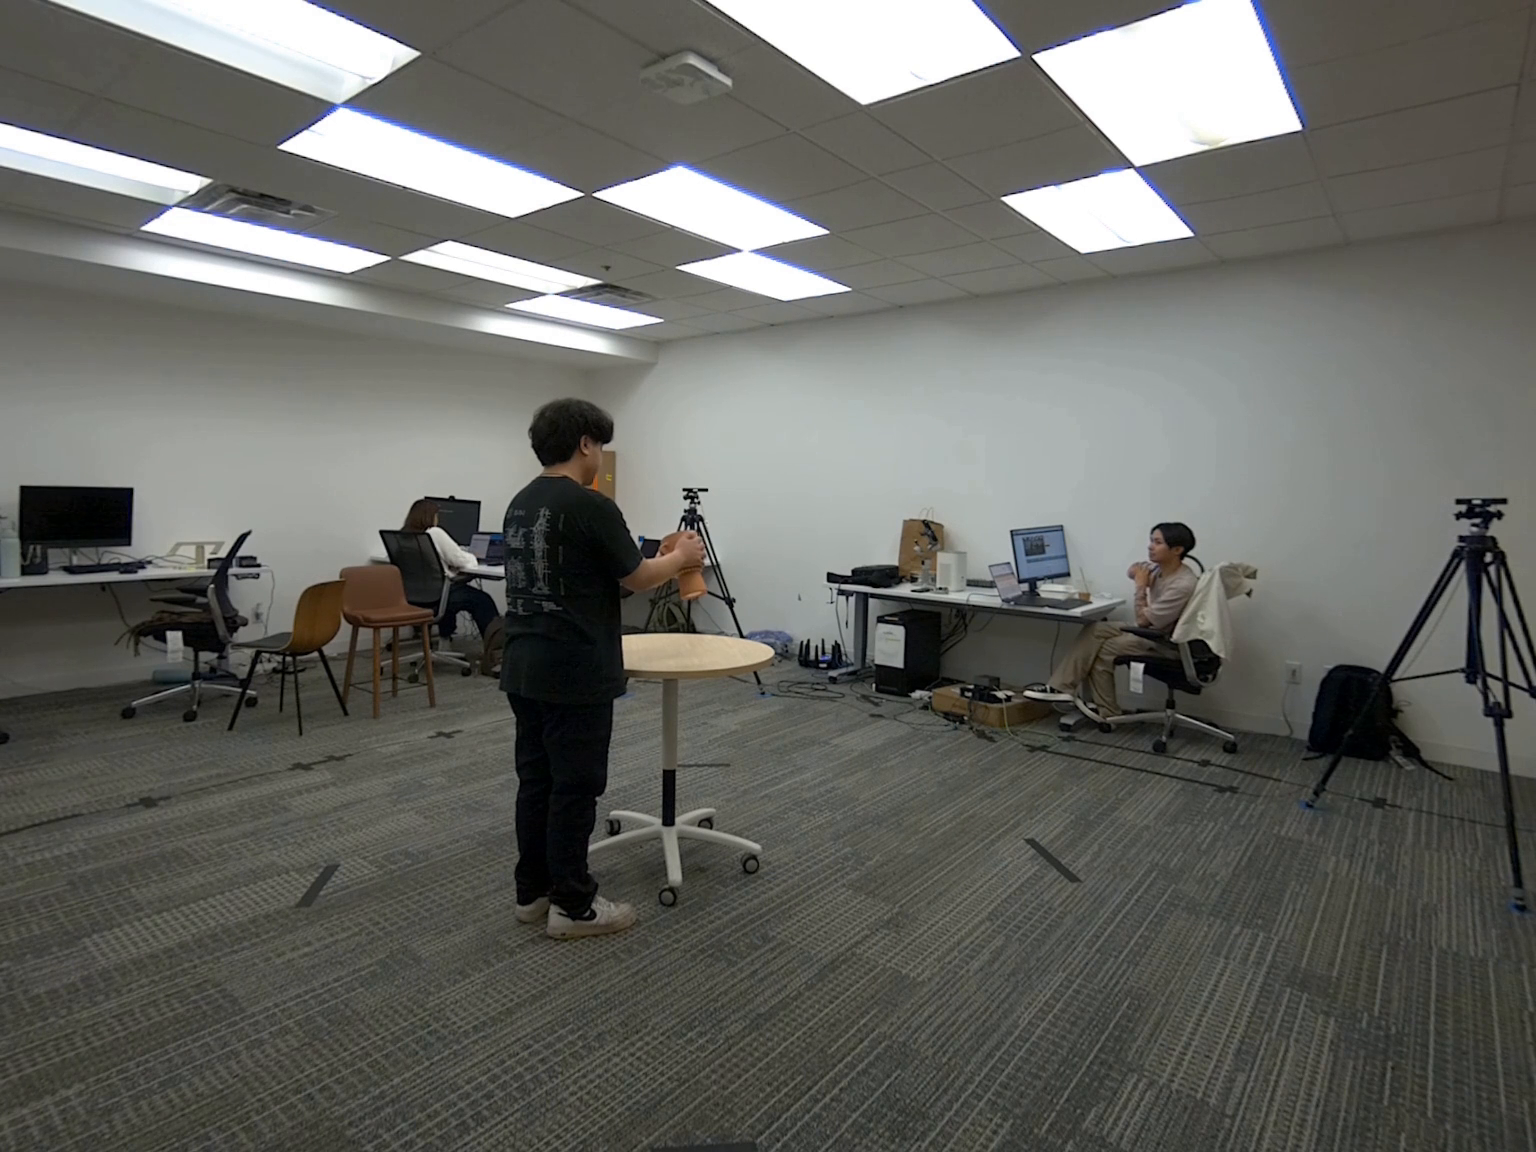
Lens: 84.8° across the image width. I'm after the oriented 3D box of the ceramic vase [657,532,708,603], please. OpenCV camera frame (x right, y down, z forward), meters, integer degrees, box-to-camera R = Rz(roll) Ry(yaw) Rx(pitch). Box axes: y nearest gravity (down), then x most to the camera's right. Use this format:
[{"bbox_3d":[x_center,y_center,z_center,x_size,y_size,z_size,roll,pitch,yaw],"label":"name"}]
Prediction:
[{"bbox_3d":[-0.299,-0.038,2.983,0.158,0.223,0.133,-14,-14,-5],"label":"ceramic vase"}]
